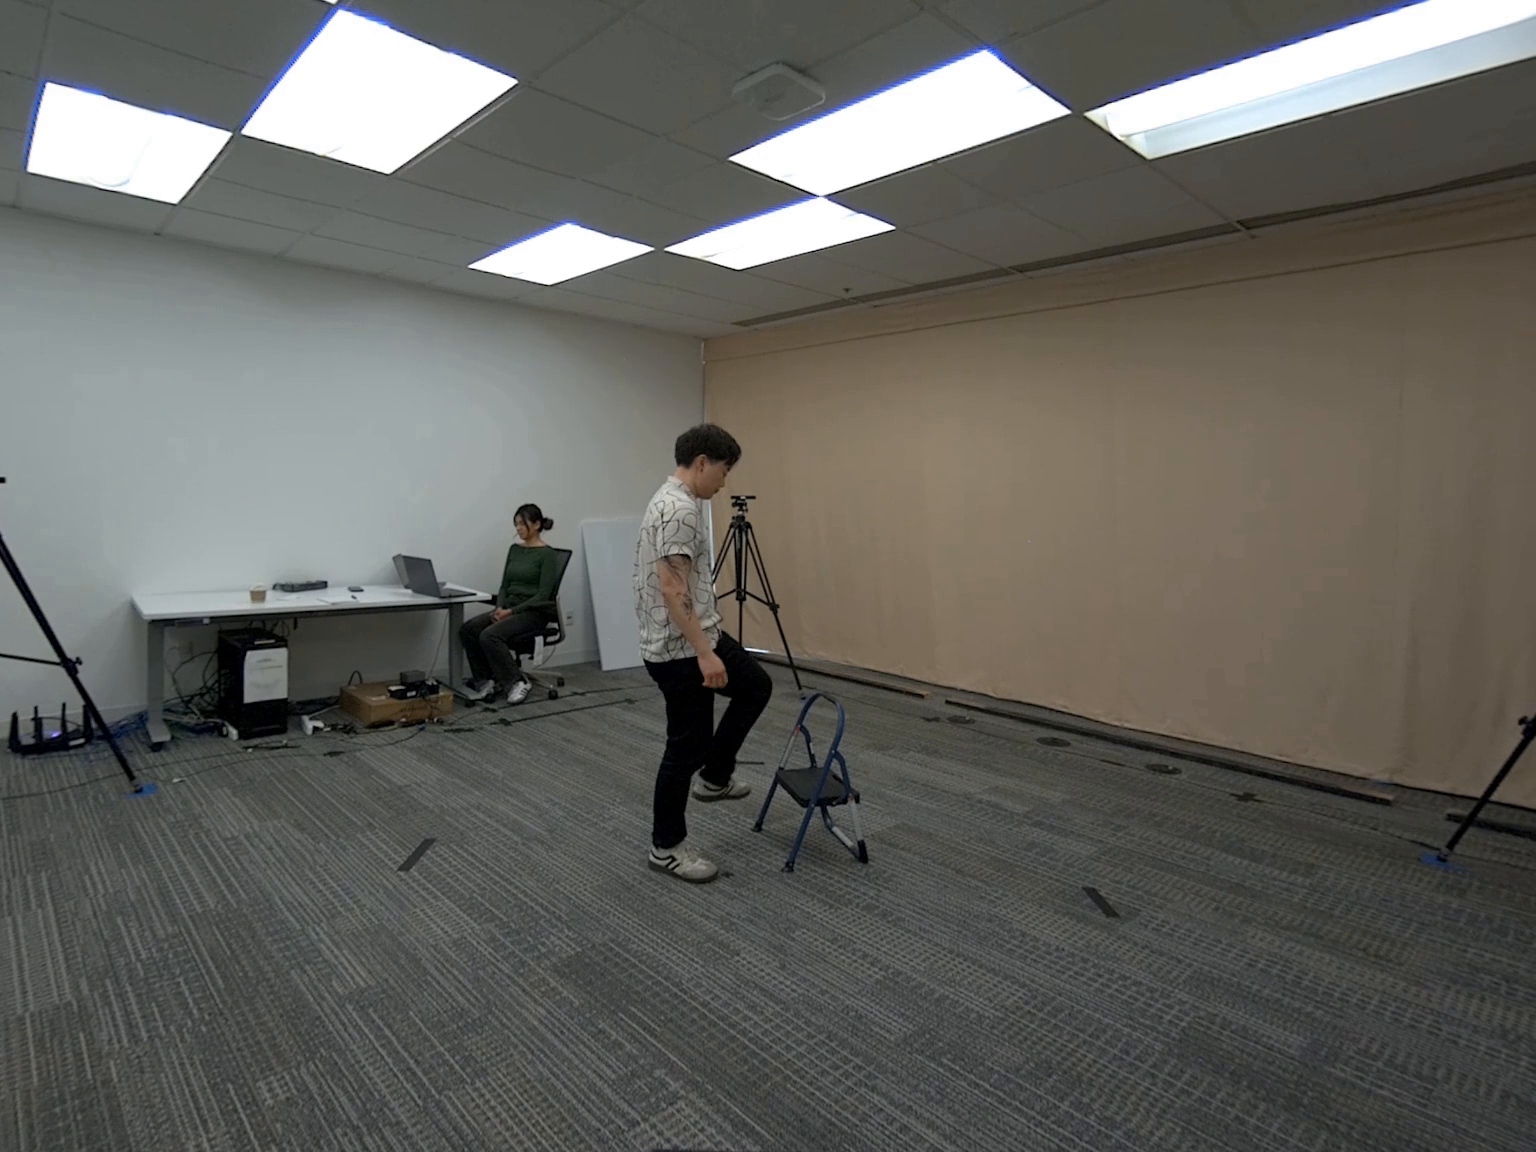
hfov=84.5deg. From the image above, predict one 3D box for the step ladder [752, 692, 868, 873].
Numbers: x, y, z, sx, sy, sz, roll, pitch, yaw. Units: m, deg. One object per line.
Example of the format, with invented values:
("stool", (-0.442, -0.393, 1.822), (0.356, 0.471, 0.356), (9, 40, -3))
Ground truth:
("step ladder", (0.163, 0.782, 3.362), (0.345, 0.605, 0.437), (1, 4, -17))
